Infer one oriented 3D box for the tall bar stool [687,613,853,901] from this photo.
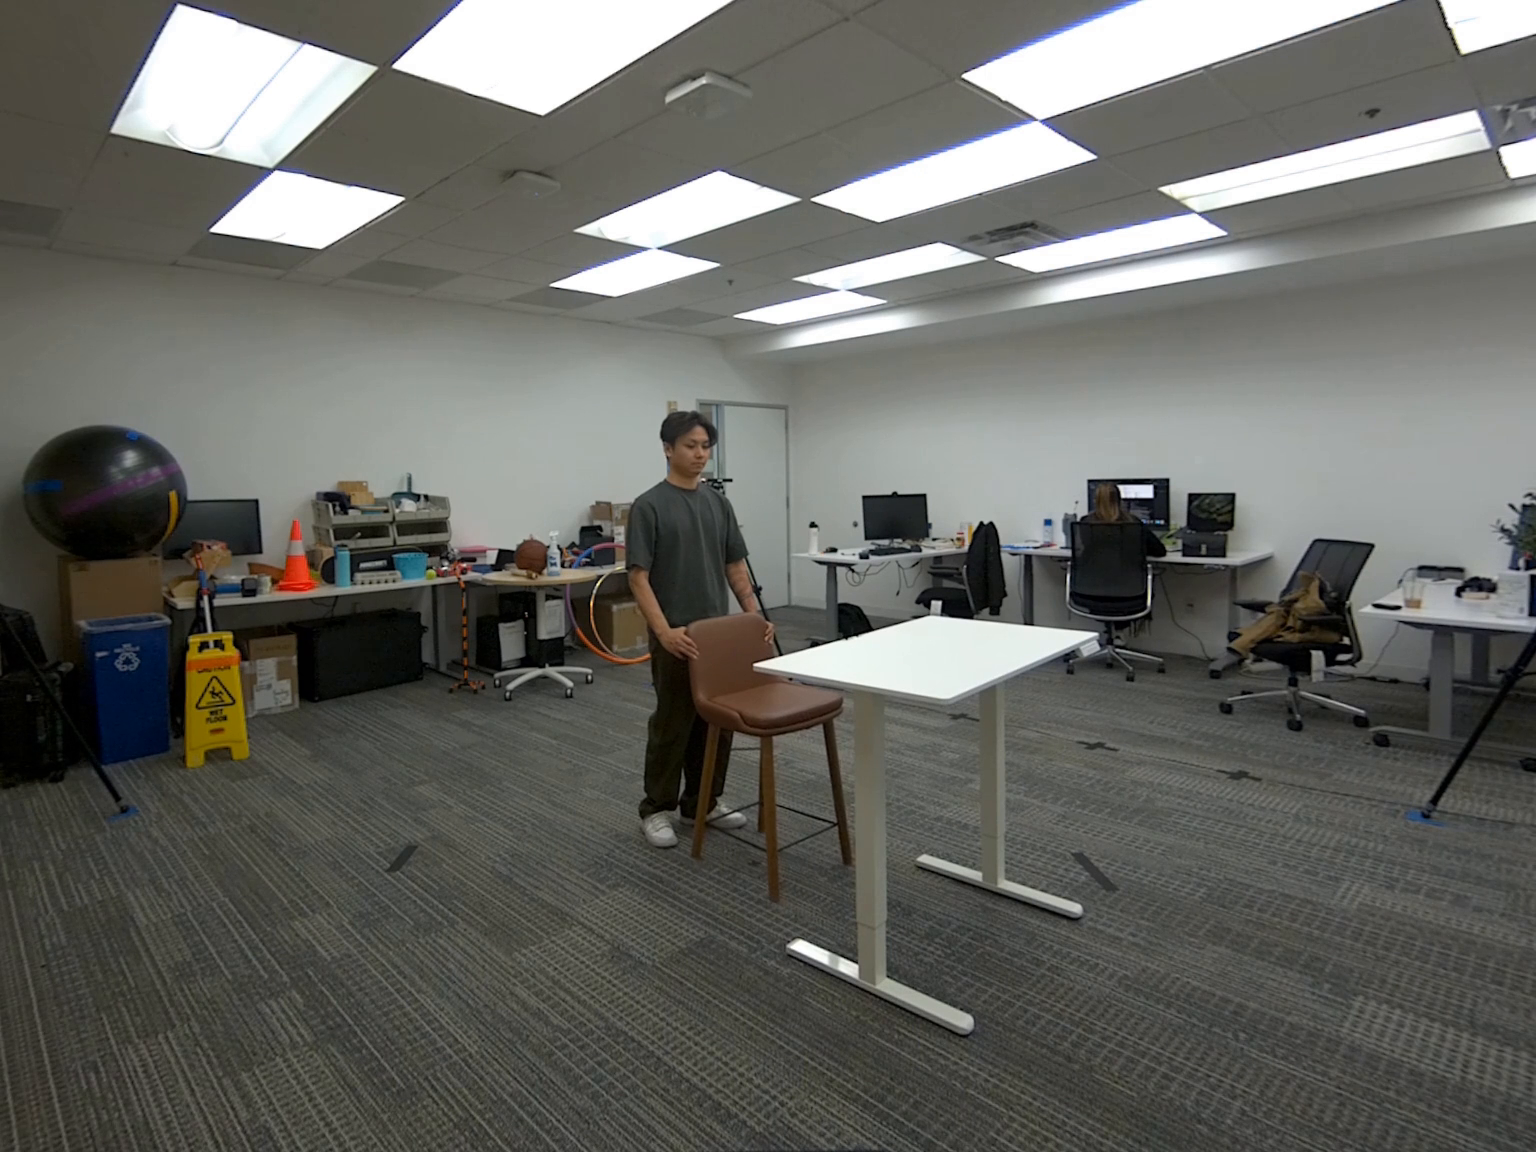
[{"bbox_3d":[-0.007,0.605,3.099,0.444,0.888,0.481,-4,3,-42],"label":"tall bar stool"}]
